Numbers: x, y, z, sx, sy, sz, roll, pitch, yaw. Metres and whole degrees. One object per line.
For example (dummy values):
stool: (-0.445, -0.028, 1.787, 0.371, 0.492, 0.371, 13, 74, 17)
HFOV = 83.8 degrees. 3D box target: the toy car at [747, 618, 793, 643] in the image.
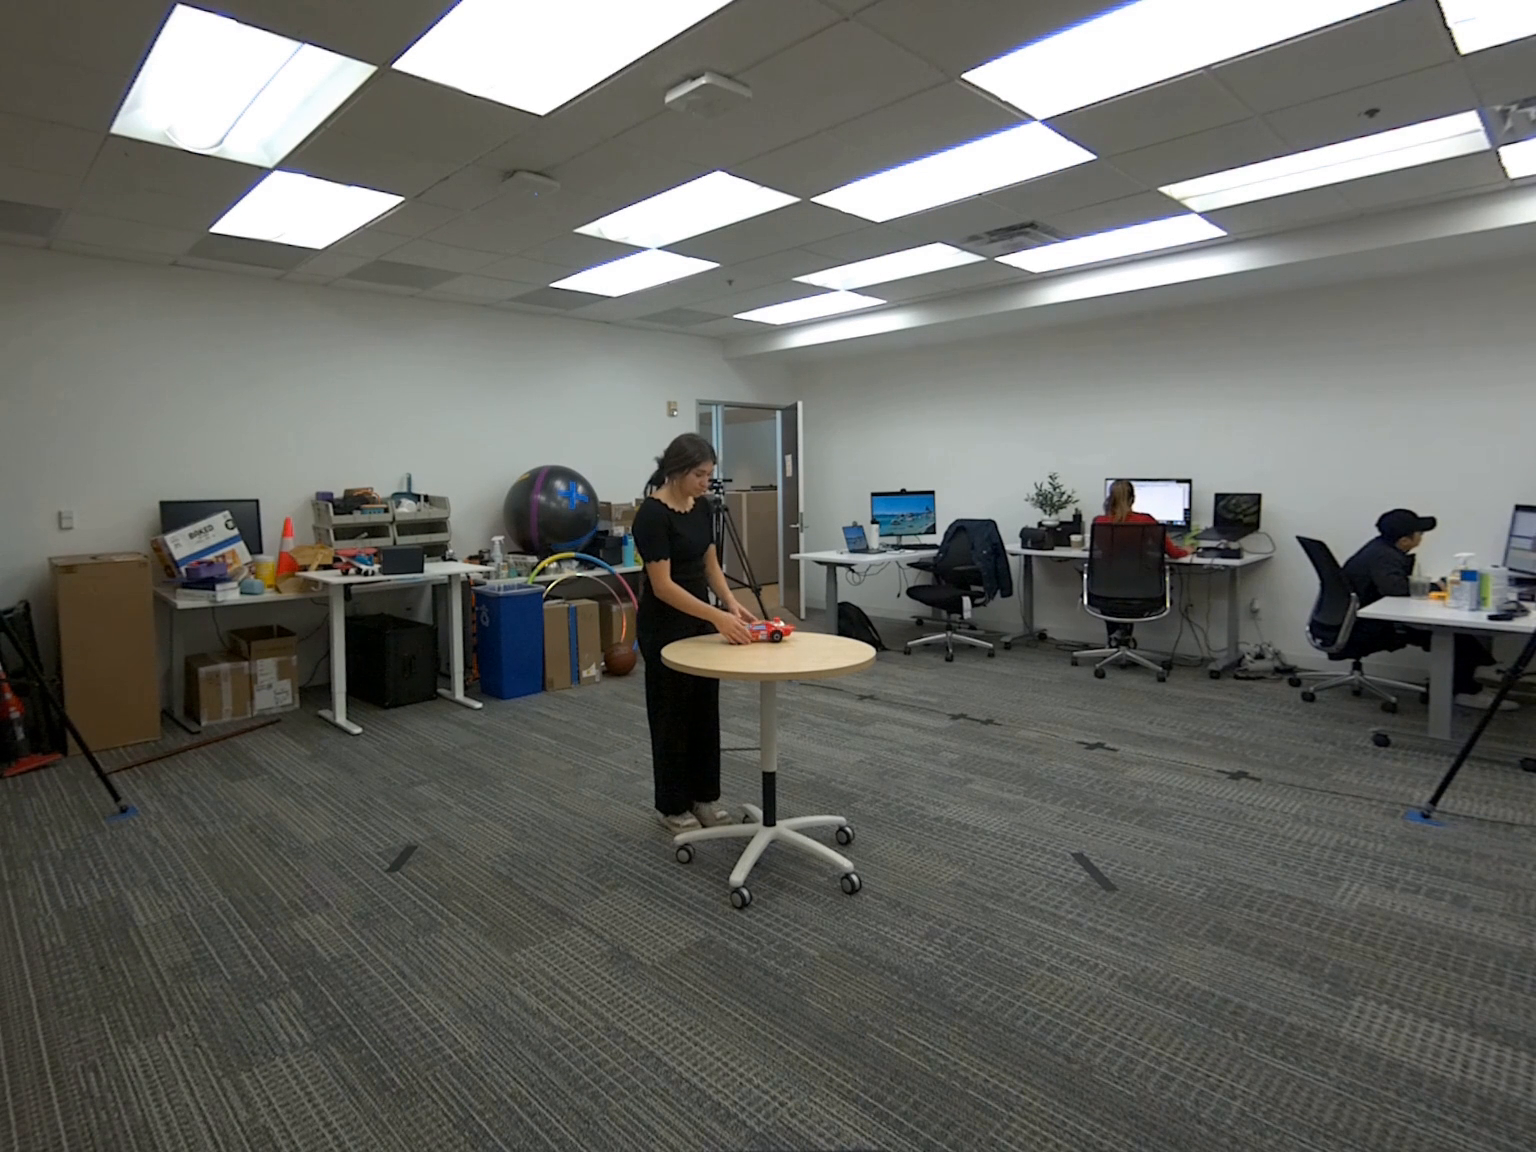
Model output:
toy car: (-0.022, 0.216, 3.237, 0.253, 0.083, 0.131, -13, 6, -5)
